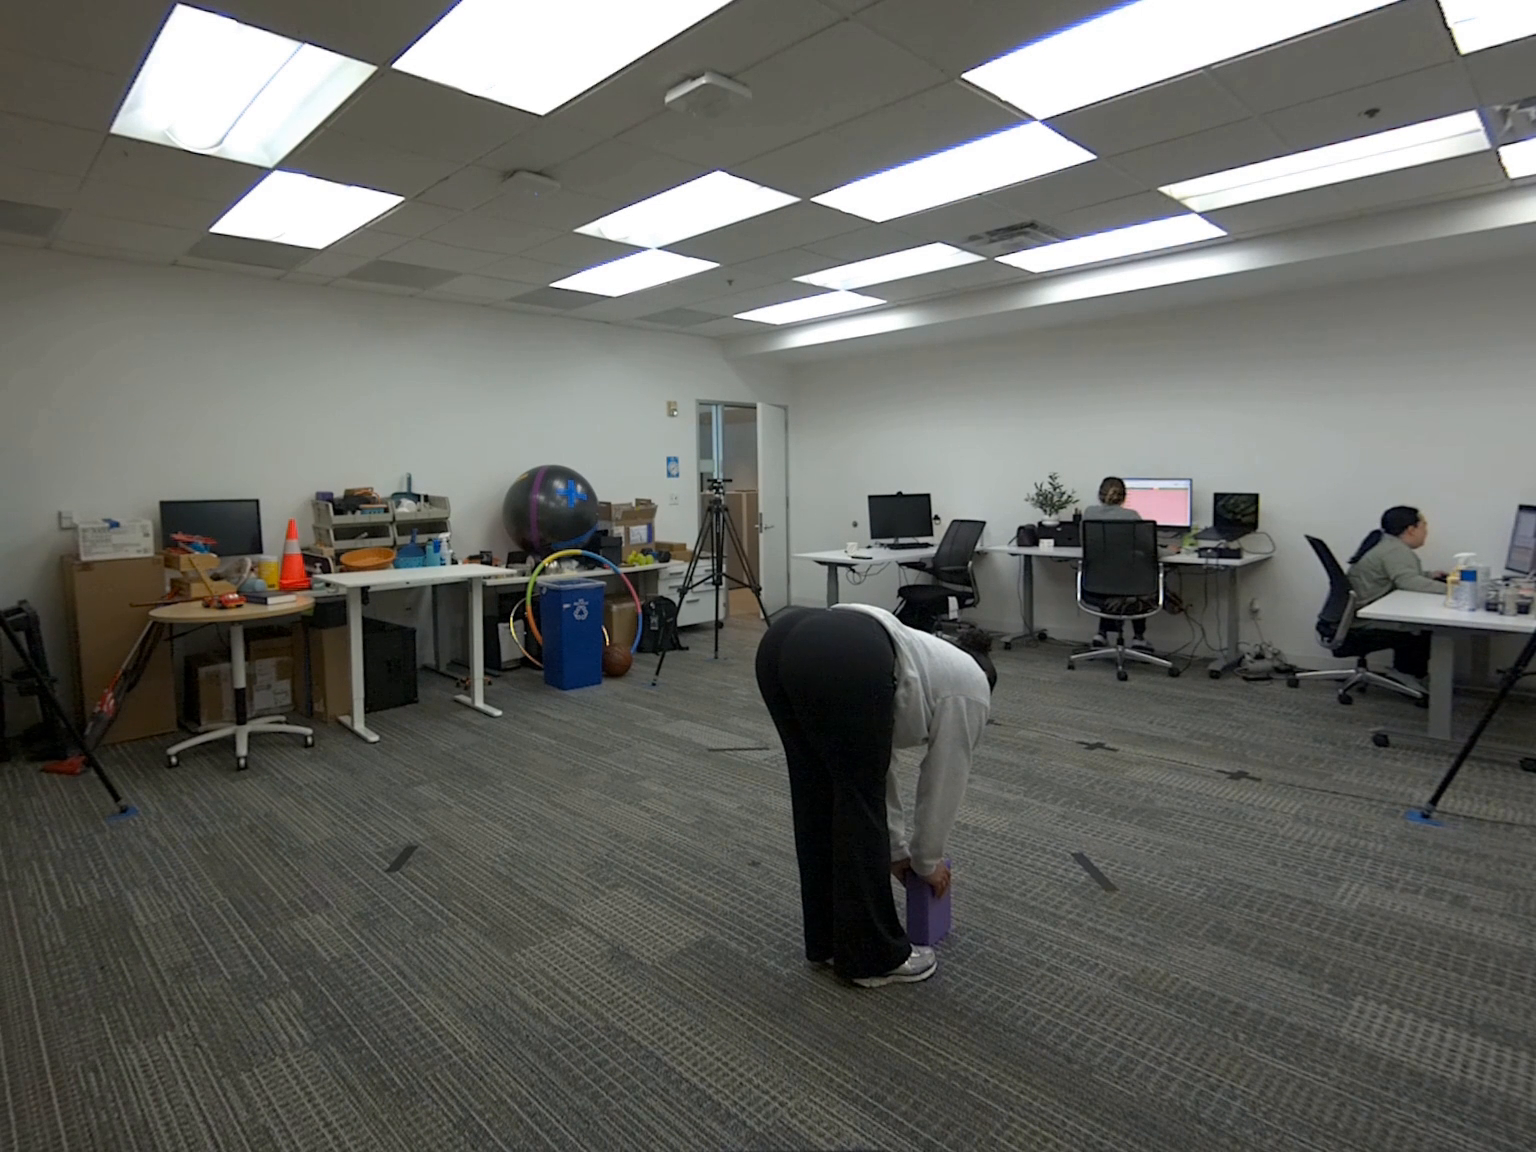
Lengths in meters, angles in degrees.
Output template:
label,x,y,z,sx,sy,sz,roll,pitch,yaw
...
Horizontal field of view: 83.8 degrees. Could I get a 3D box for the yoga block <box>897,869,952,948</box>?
label,x,y,z,sx,sy,sz,roll,pitch,yaw
yoga block,0.491,0.979,2.578,0.079,0.228,0.145,6,9,42
